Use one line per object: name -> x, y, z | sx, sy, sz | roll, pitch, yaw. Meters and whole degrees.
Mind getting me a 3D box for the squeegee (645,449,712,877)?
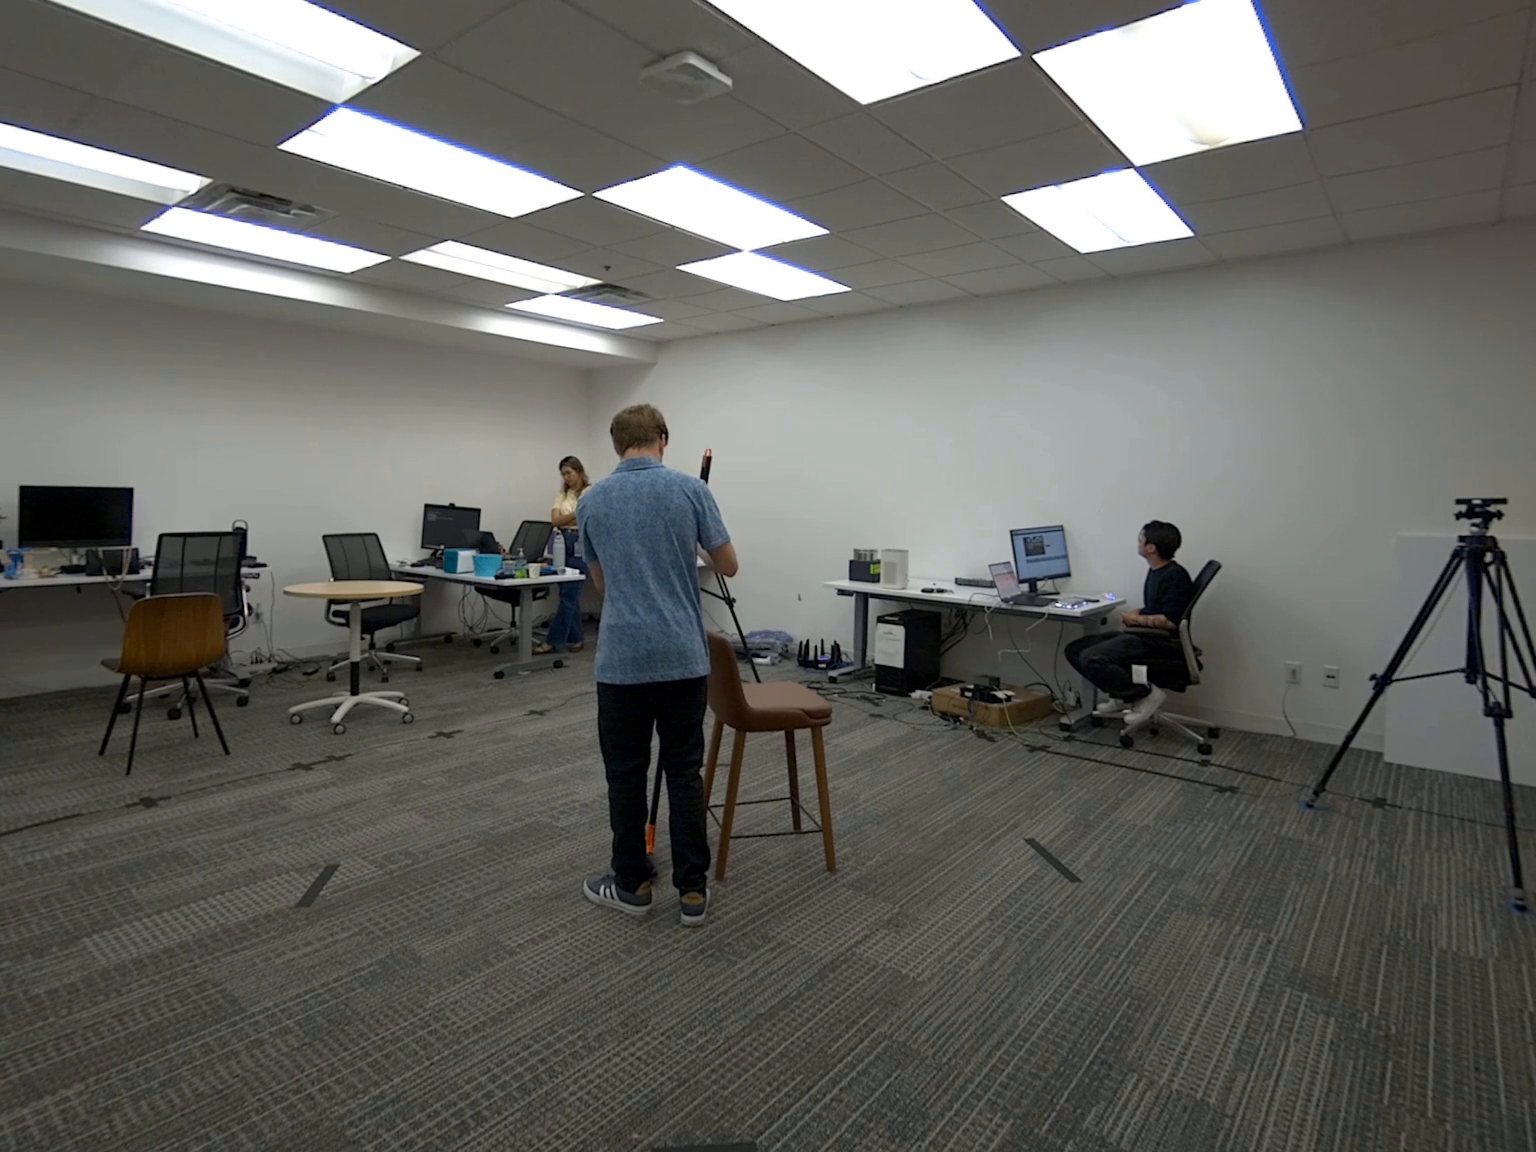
squeegee -> -0.349, 0.290, 3.149 | 0.052, 1.534, 0.448 | 6, 3, -22
